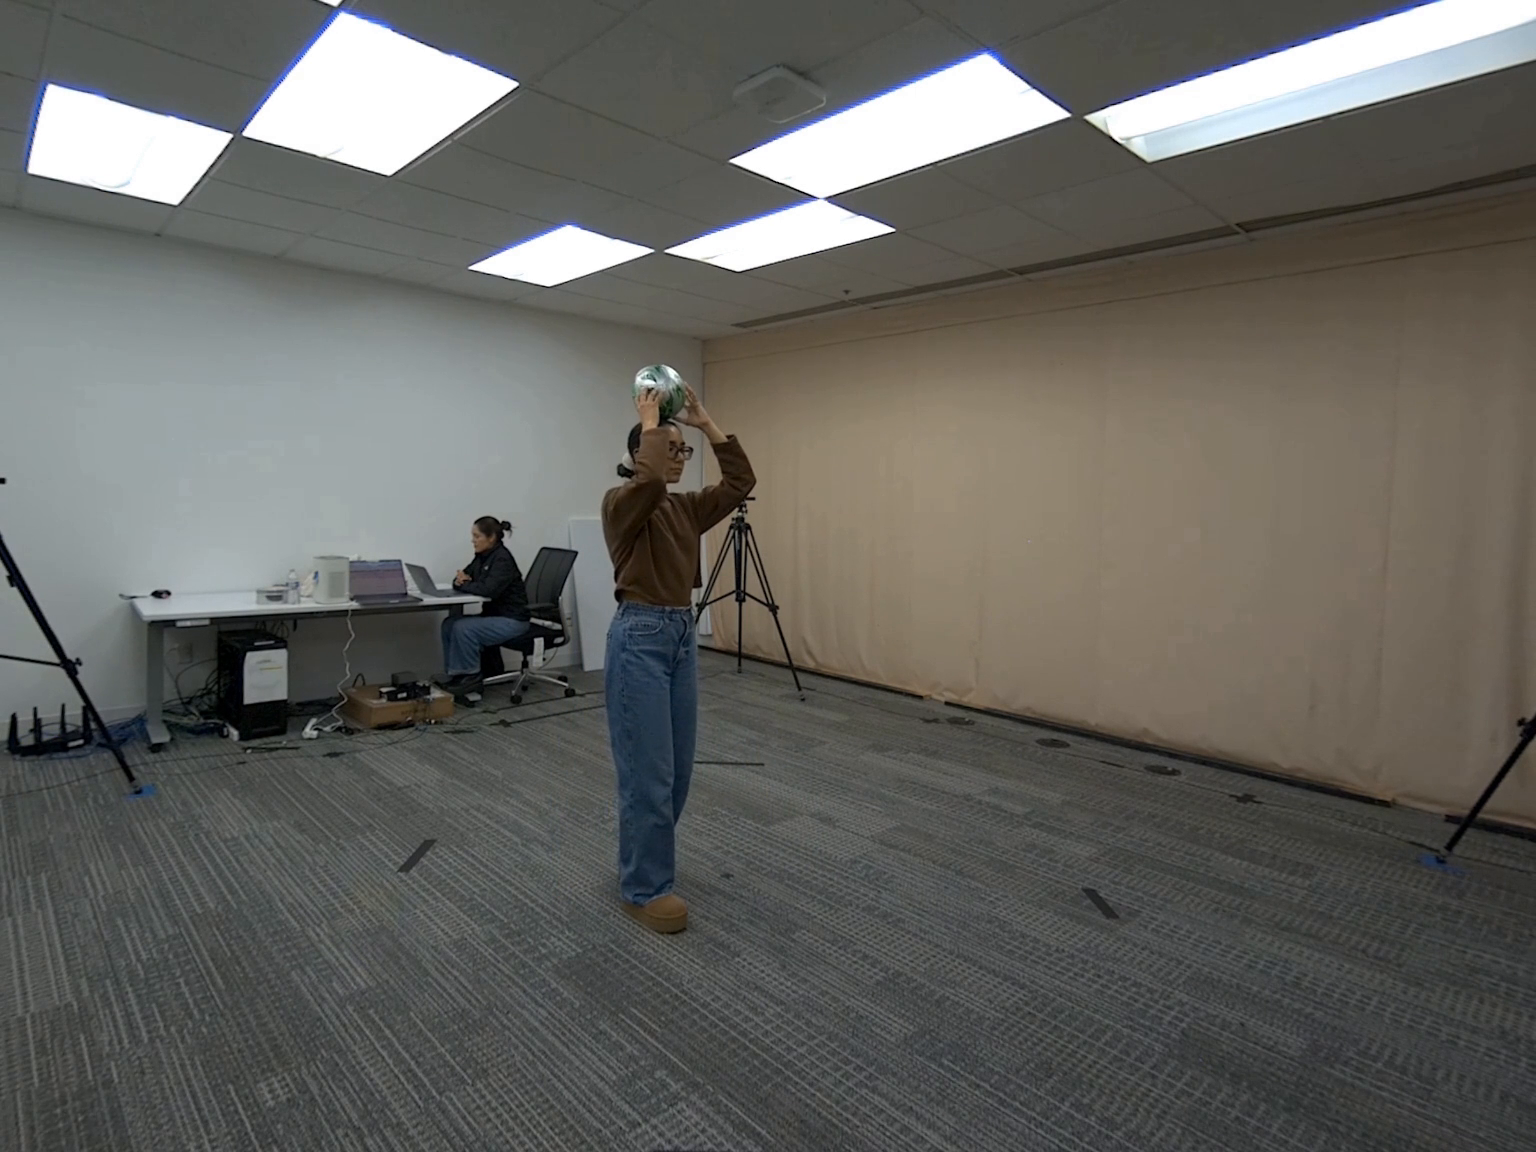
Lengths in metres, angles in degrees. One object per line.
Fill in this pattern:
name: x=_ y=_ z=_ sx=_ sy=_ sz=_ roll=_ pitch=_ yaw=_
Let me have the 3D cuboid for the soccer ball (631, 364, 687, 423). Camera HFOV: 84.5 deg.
soccer ball: x=-0.375 y=-0.614 z=2.831 sx=0.187 sy=0.187 sz=0.188 roll=1 pitch=4 yaw=-1
